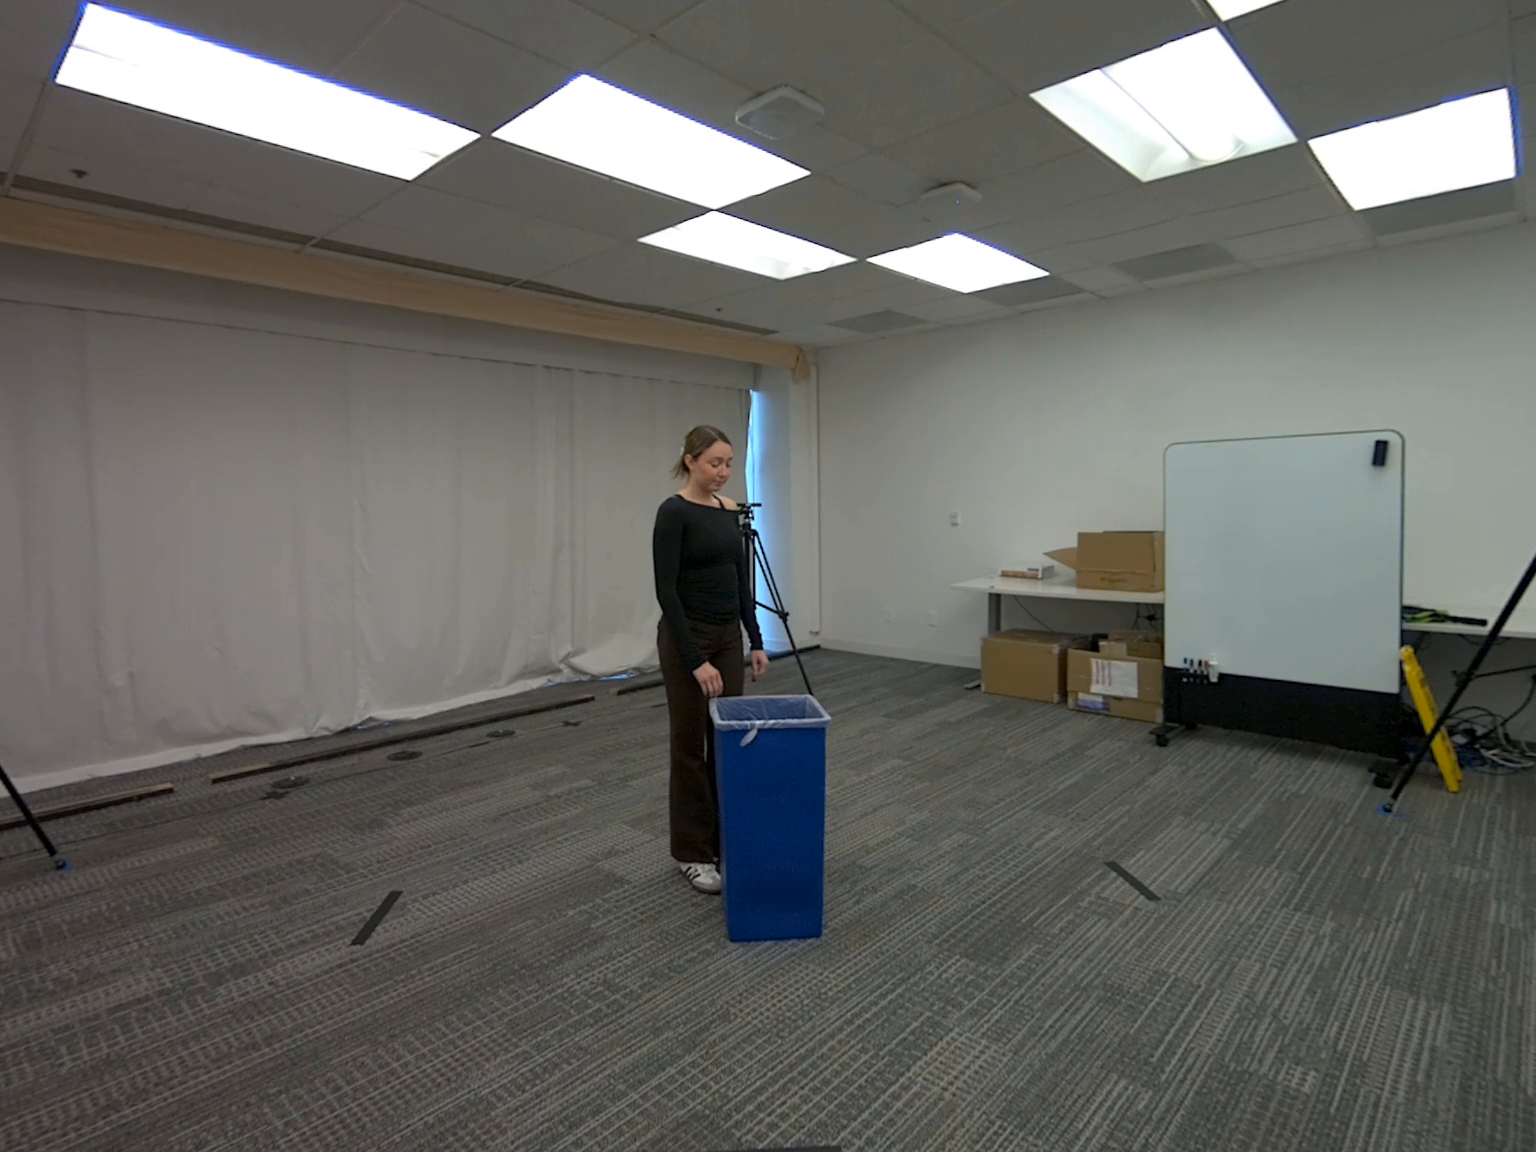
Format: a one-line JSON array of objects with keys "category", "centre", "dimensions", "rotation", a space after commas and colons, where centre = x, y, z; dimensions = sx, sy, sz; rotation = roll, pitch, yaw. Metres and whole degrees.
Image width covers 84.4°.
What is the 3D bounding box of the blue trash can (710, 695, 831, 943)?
[{"category": "blue trash can", "centre": [0.005, 0.792, 2.817], "dimensions": [0.377, 0.712, 0.376], "rotation": [-1, 3, -4]}]
